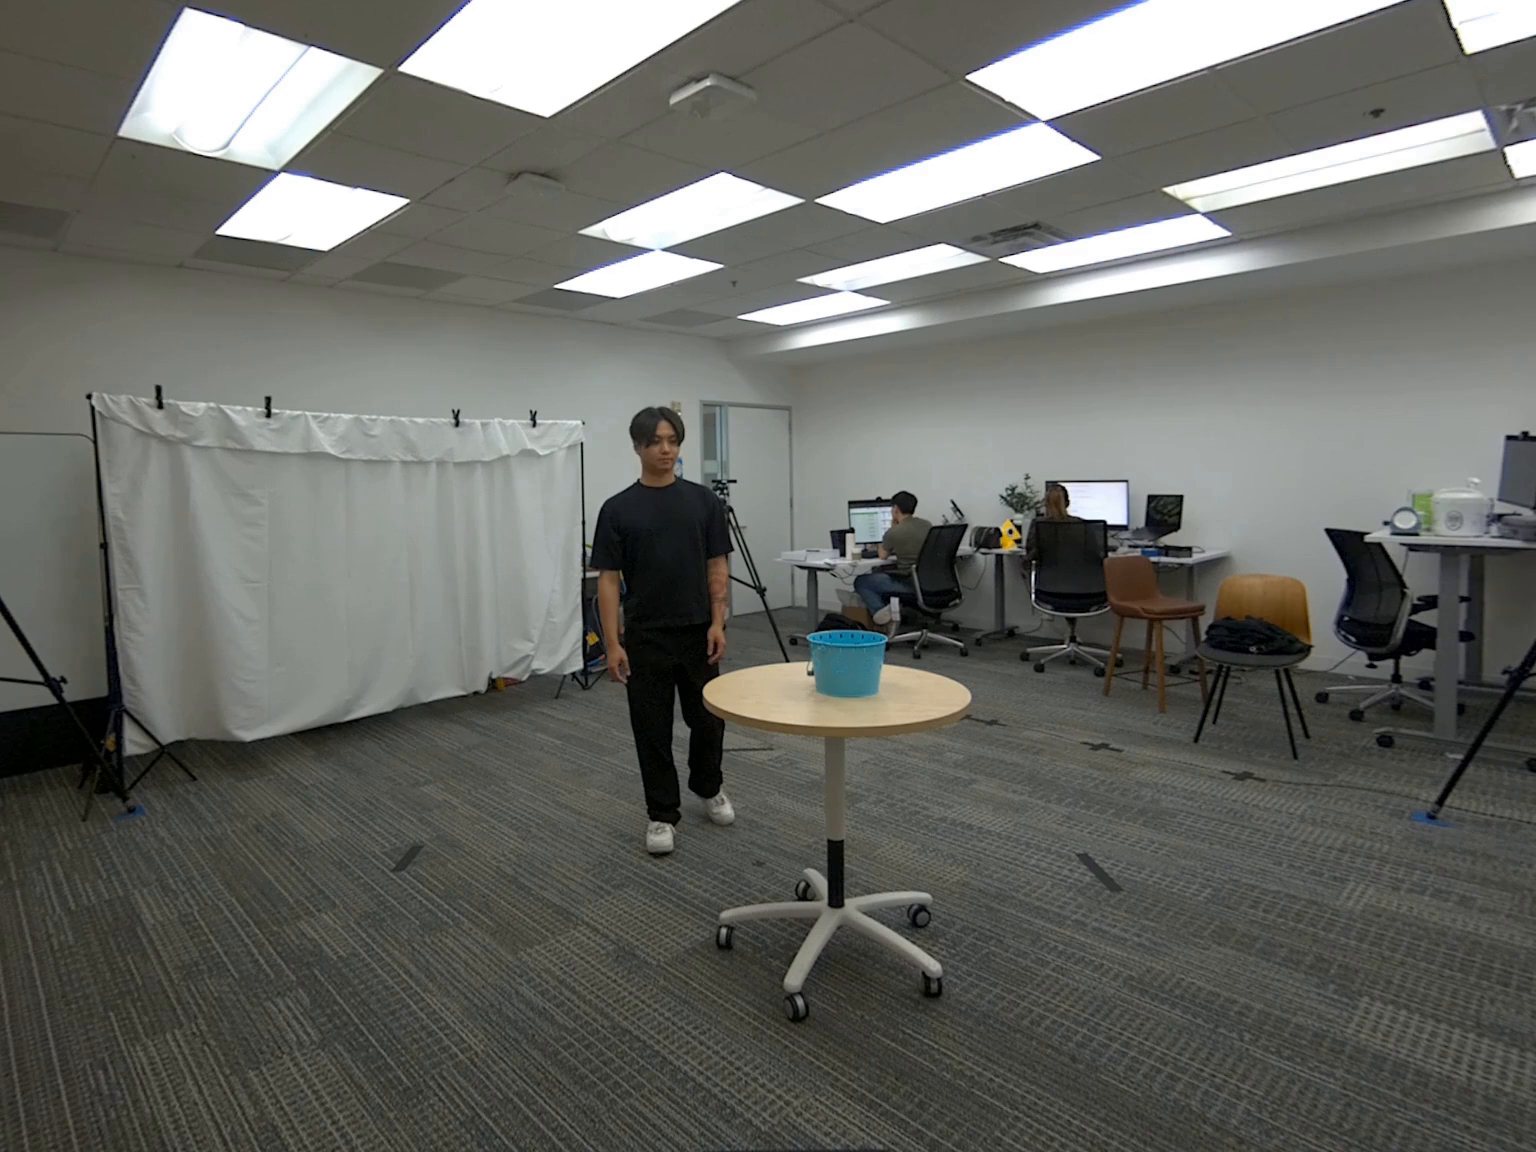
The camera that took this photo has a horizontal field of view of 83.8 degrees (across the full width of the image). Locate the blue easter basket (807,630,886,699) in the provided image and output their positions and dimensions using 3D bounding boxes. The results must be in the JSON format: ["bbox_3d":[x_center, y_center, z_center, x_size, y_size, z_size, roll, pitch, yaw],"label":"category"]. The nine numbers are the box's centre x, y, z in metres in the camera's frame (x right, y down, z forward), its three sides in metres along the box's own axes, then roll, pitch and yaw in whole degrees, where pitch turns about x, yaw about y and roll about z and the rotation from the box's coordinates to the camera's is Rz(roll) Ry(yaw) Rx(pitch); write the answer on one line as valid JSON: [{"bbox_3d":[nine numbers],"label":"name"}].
[{"bbox_3d":[0.240,0.258,2.473,0.243,0.155,0.245,-1,6,-2],"label":"blue easter basket"}]
